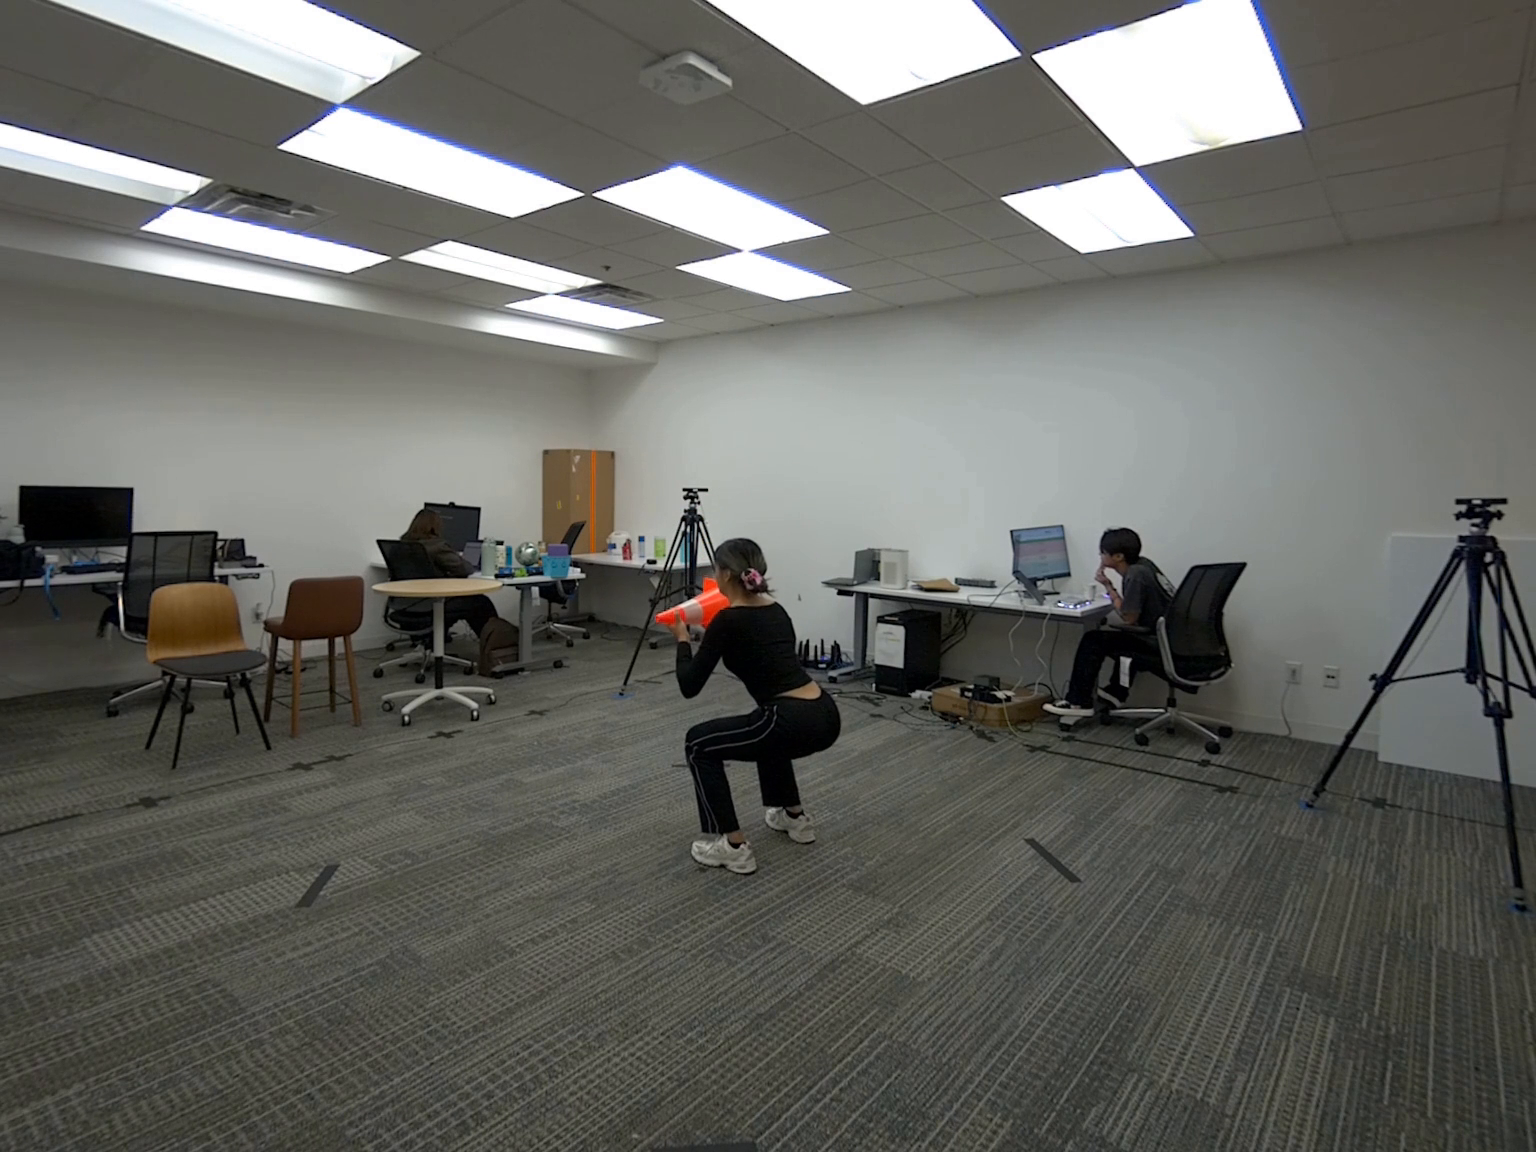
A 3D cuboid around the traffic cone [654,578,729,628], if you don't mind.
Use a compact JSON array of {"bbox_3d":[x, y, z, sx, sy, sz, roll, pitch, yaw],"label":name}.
[{"bbox_3d":[-0.325,0.142,3.479,0.211,0.203,0.373,21,19,34],"label":"traffic cone"}]
